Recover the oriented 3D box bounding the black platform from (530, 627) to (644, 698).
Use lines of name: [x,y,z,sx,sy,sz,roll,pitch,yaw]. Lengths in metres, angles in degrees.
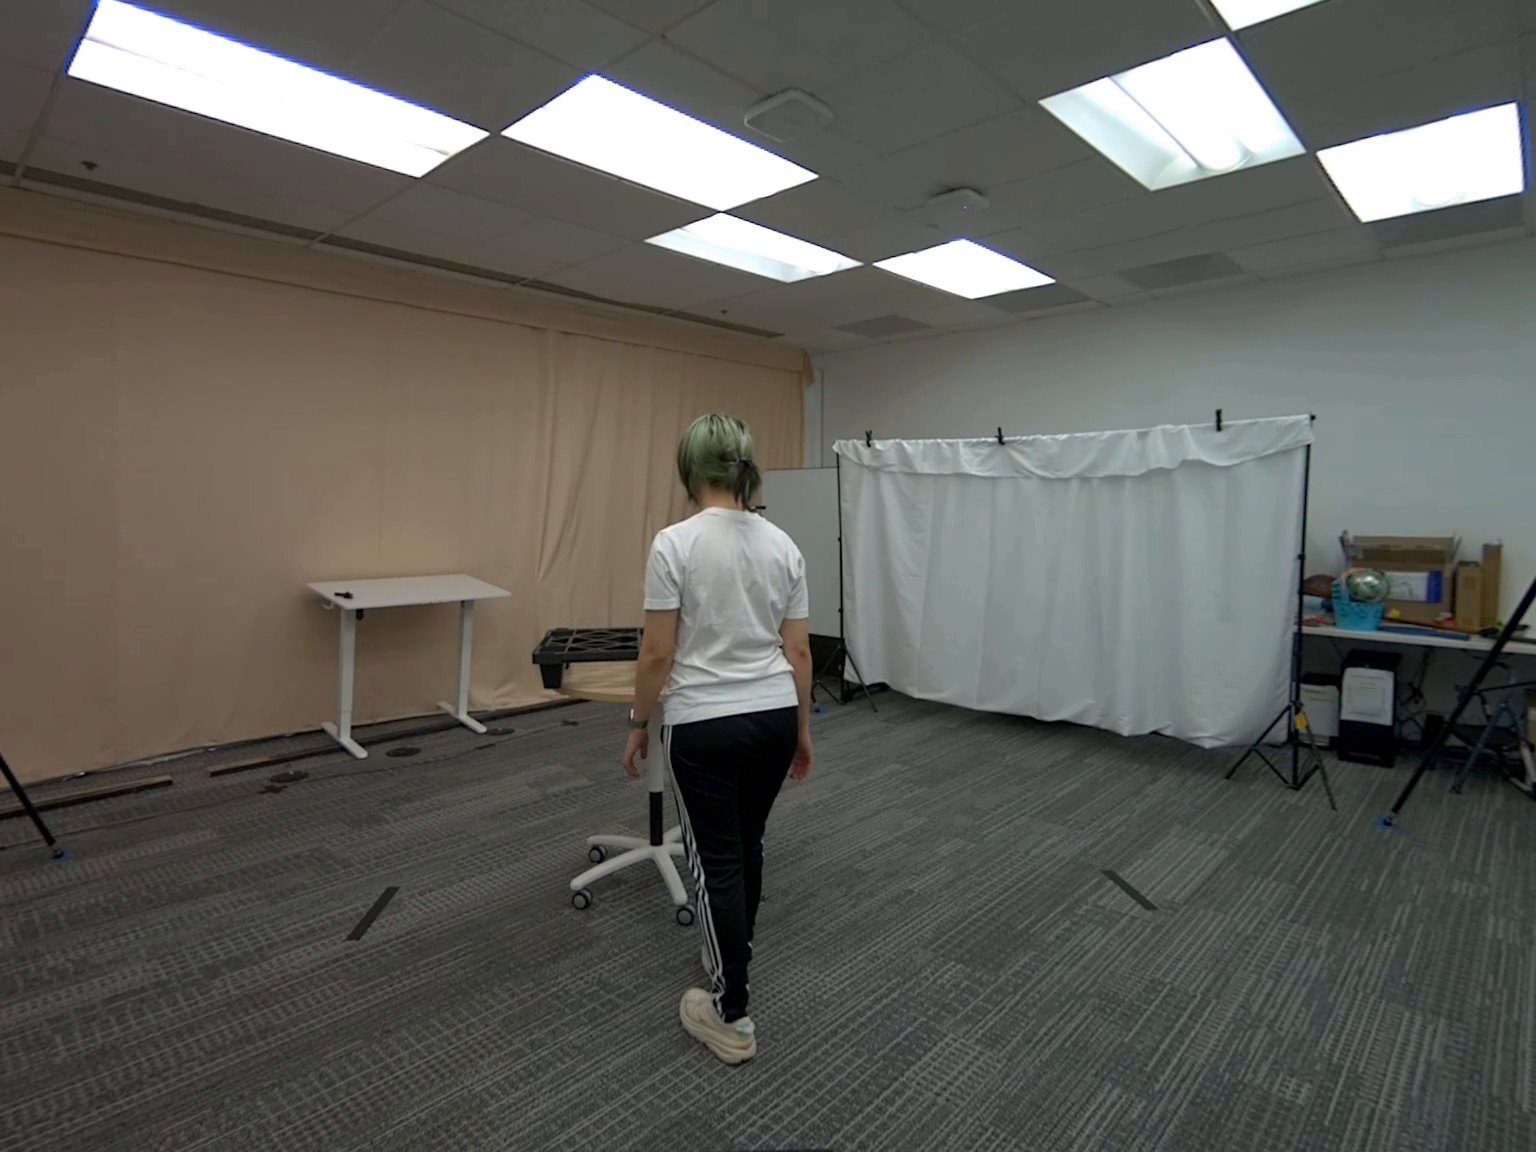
black platform: [-0.415,0.291,3.062,0.800,0.143,0.611,-1,4,-7]
